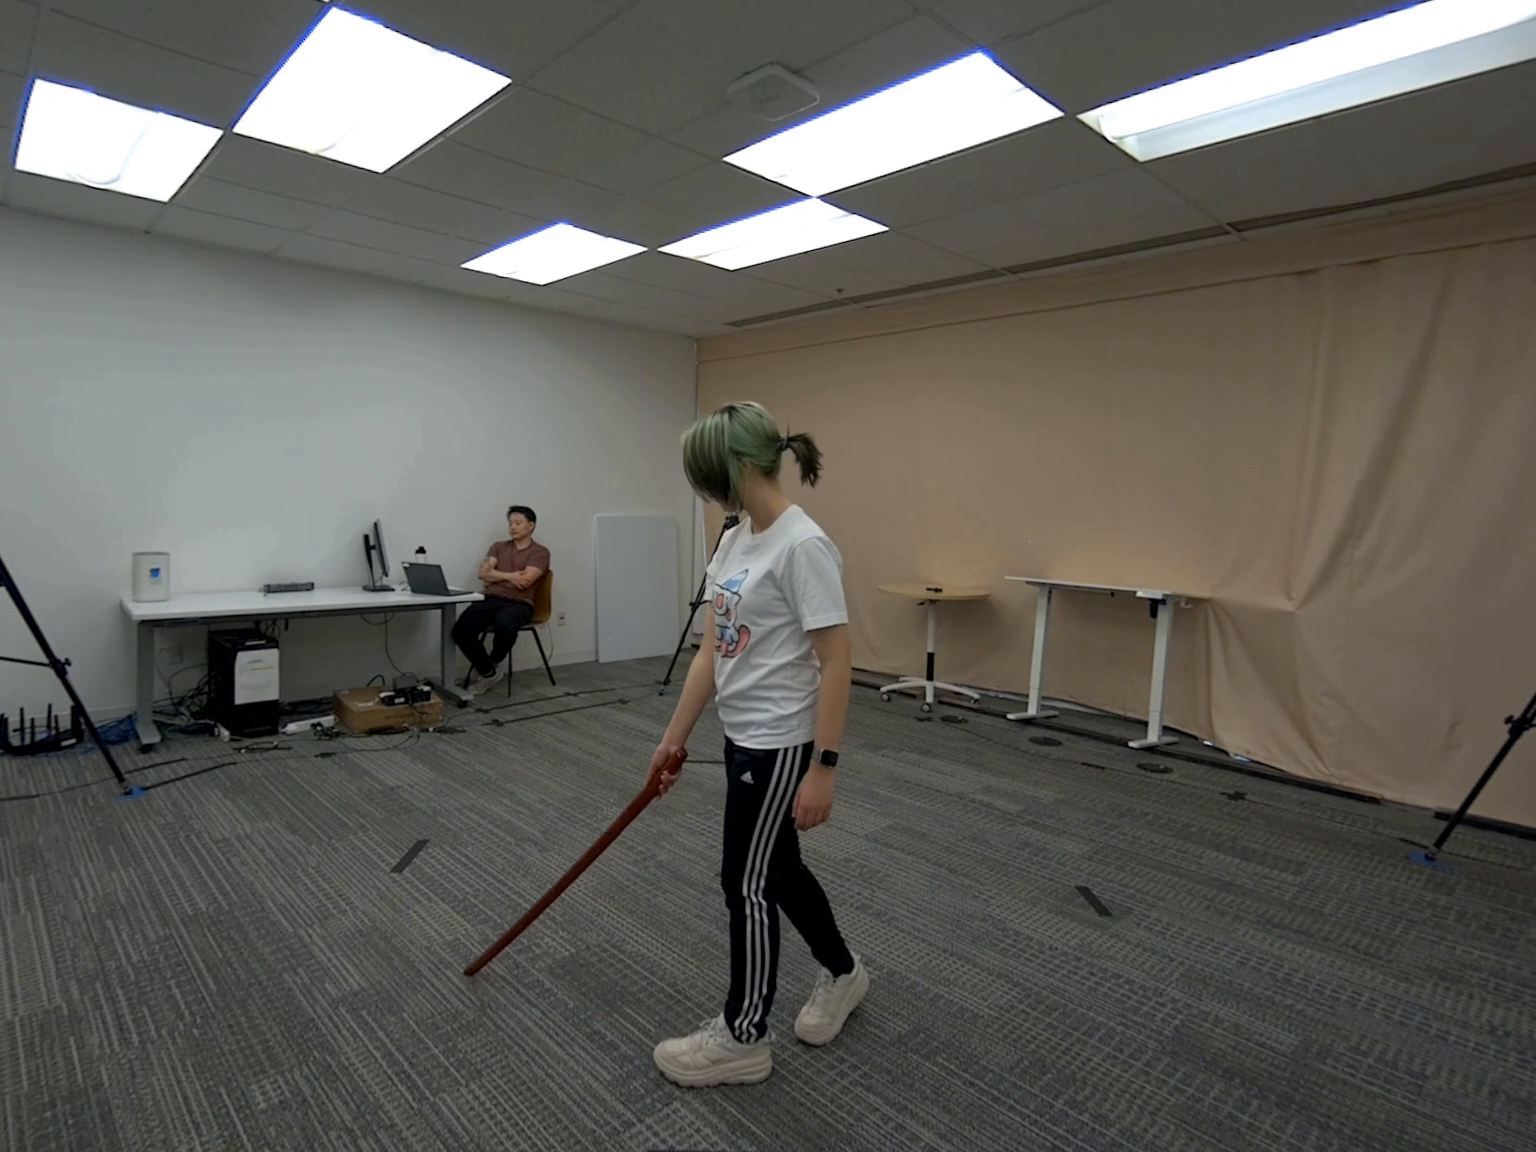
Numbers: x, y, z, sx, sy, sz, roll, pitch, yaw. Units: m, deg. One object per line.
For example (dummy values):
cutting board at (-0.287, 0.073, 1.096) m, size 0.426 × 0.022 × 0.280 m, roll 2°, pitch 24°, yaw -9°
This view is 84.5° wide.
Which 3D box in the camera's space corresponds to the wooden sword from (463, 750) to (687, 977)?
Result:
wooden sword at (-0.546, 0.804, 2.237) m, size 0.024 × 1.024 × 0.051 m, roll 45°, pitch 21°, yaw 6°
